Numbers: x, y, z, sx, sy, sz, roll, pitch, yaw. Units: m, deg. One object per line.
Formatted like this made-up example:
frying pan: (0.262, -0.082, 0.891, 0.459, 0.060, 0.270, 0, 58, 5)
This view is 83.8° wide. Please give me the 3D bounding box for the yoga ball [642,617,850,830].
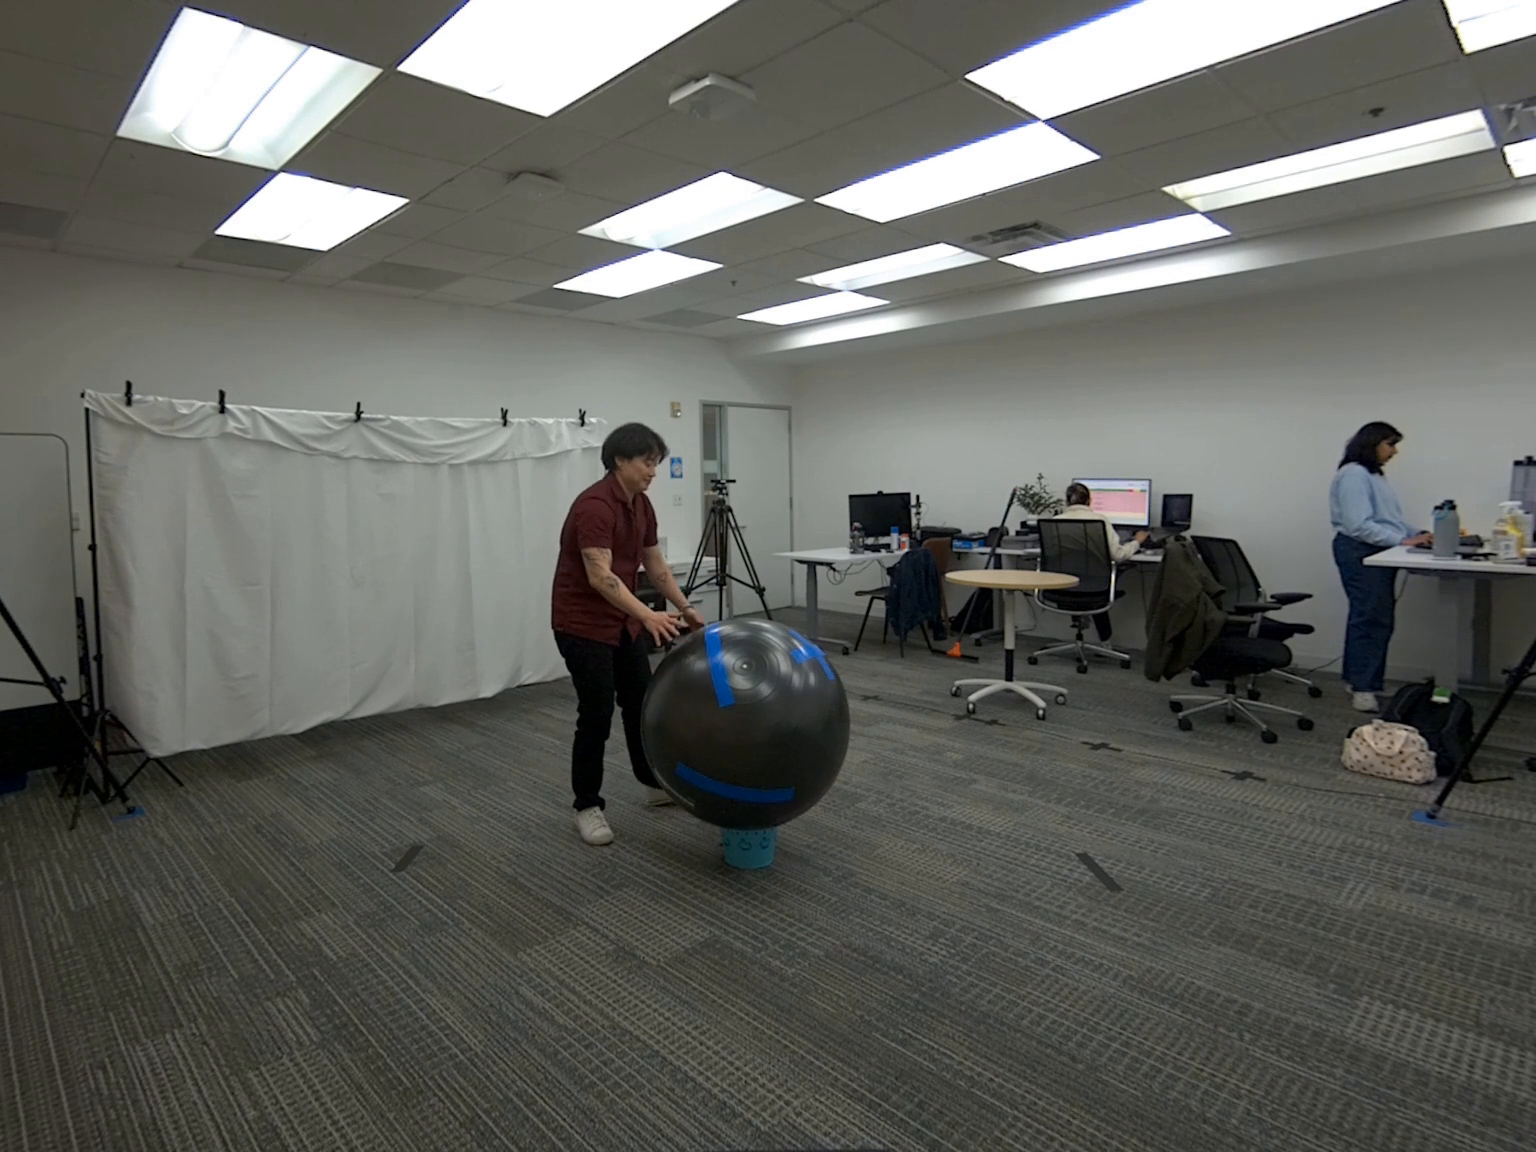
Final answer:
yoga ball: (-0.079, 0.538, 3.123, 0.757, 0.755, 0.762, -1, 5, -2)
